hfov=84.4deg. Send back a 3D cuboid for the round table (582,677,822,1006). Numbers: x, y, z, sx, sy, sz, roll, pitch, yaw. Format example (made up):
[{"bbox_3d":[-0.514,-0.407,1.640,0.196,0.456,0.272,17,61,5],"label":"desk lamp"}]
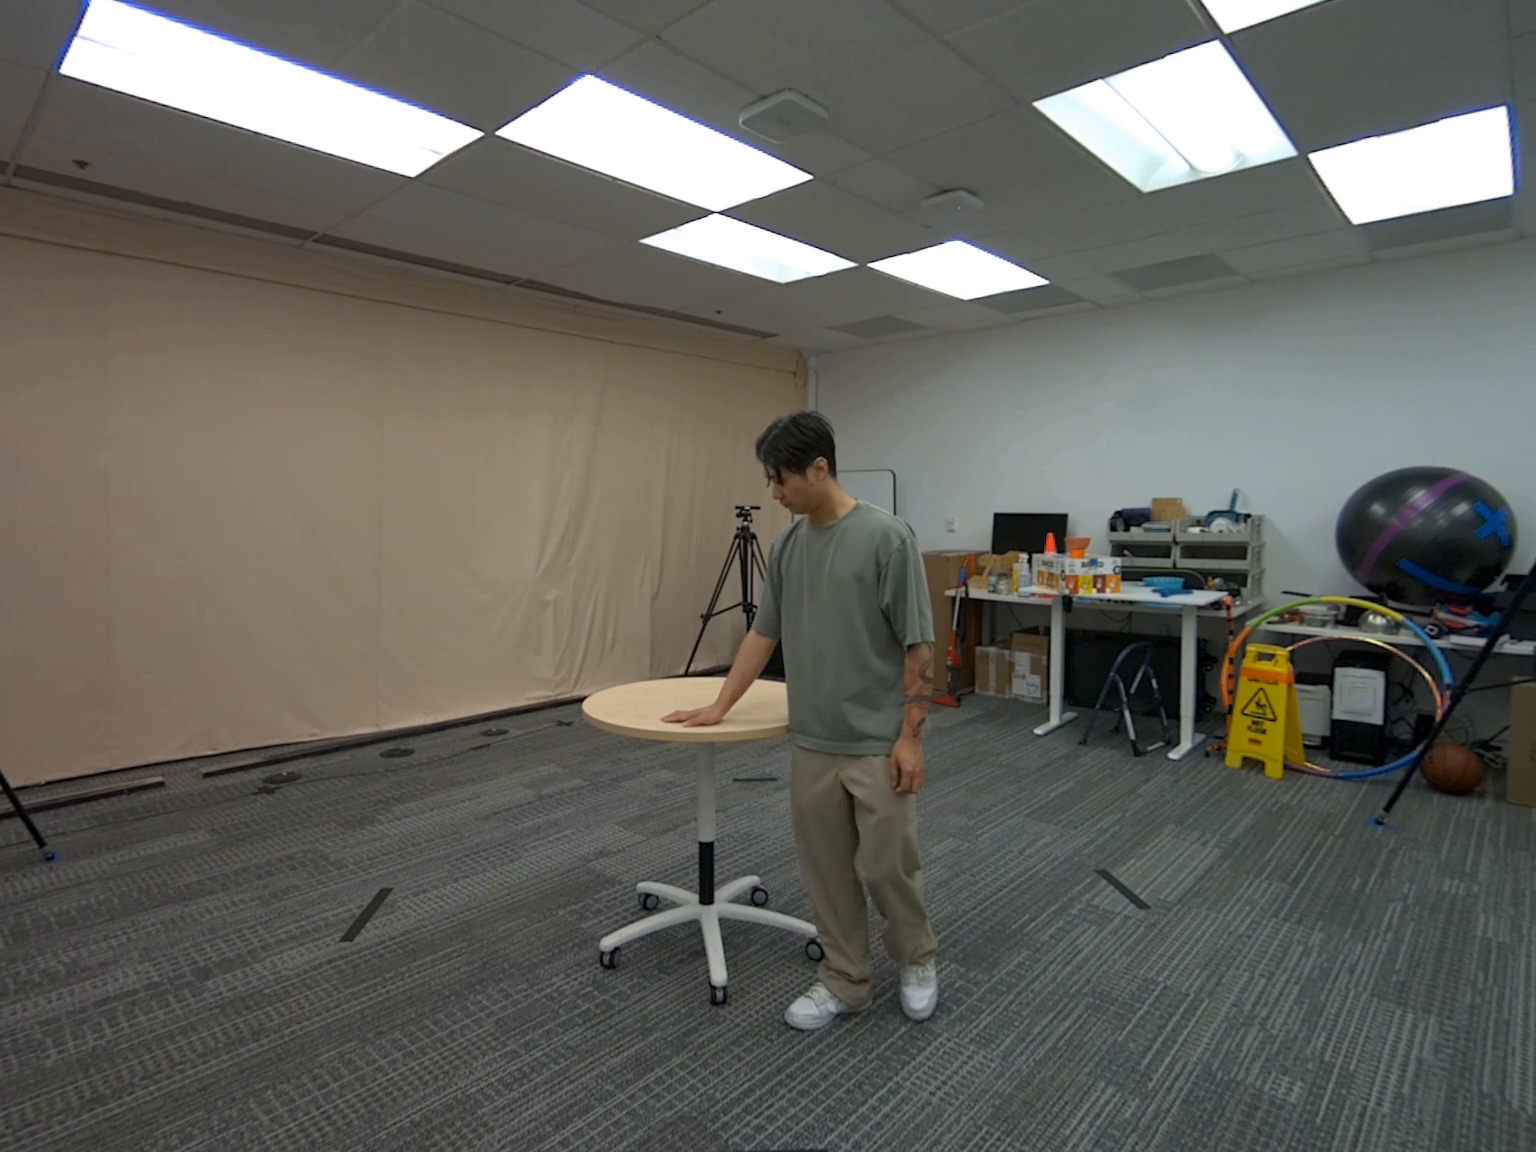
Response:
[{"bbox_3d":[-0.192,0.786,2.649,0.763,0.792,0.766,0,3,-2],"label":"round table"}]
